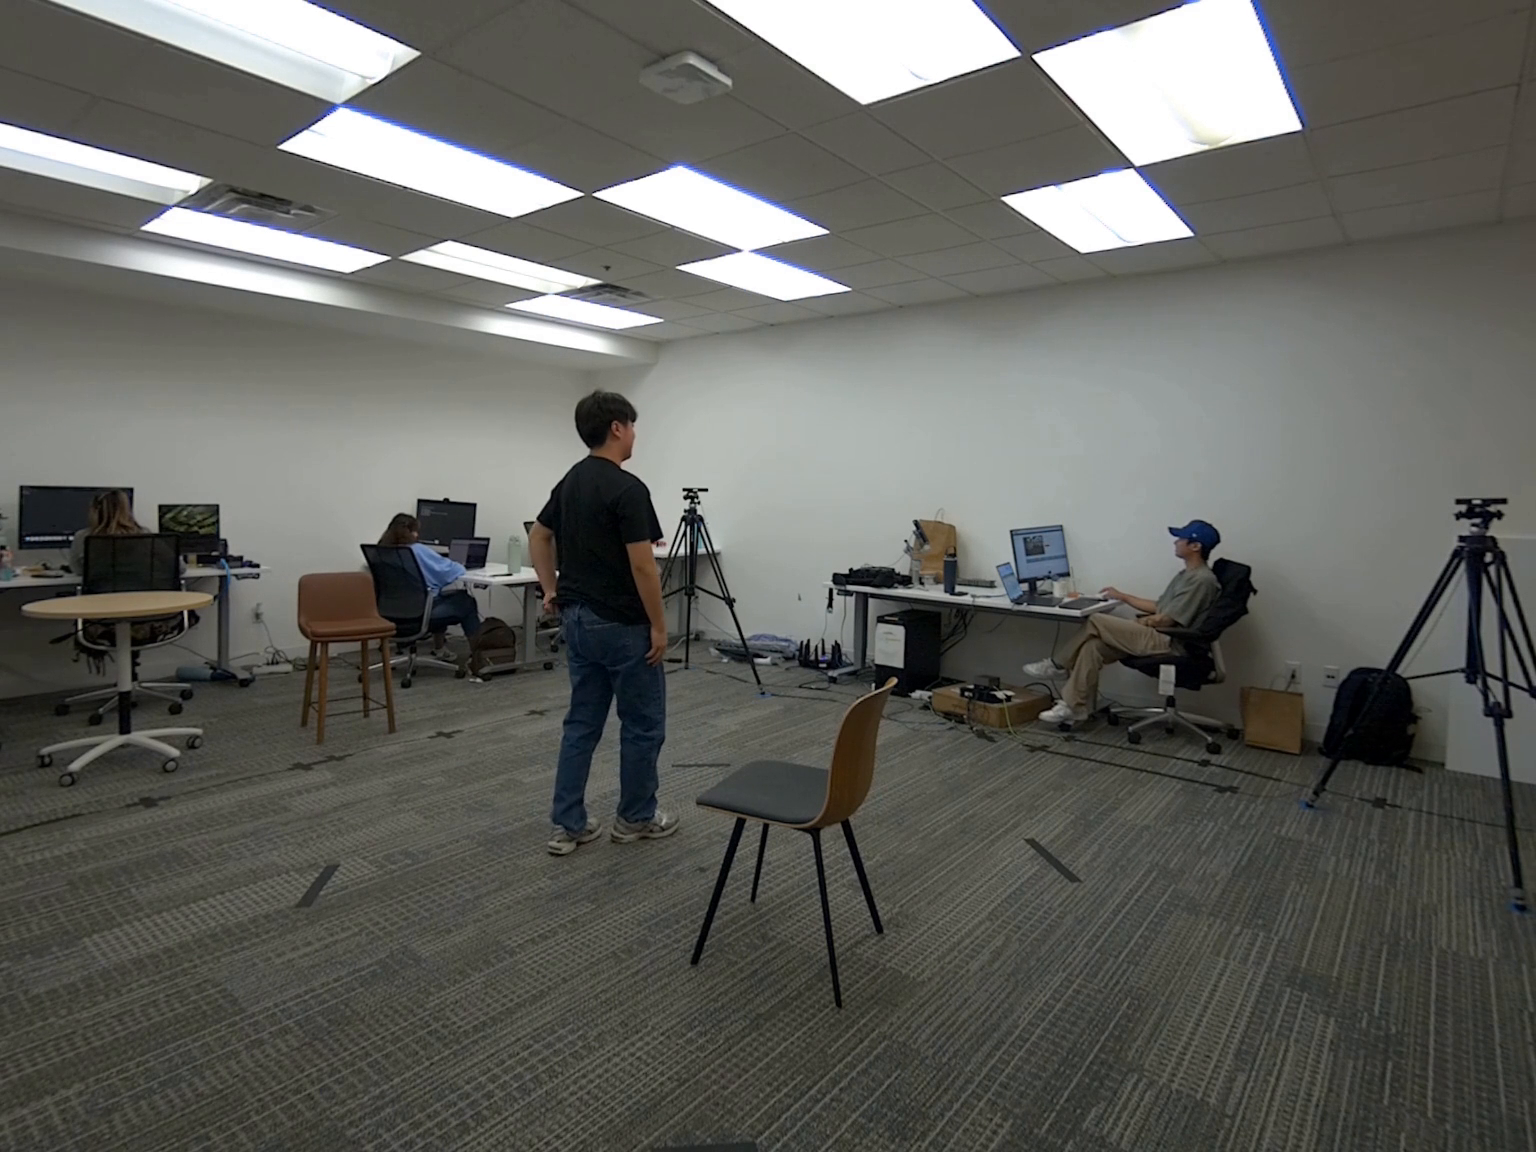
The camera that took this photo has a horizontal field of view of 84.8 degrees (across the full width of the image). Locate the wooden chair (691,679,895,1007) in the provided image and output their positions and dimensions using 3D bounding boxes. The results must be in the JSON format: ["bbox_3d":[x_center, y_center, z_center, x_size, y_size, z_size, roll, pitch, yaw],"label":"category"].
[{"bbox_3d":[0.067,0.701,2.563,0.537,0.873,0.467,8,6,24],"label":"wooden chair"}]
